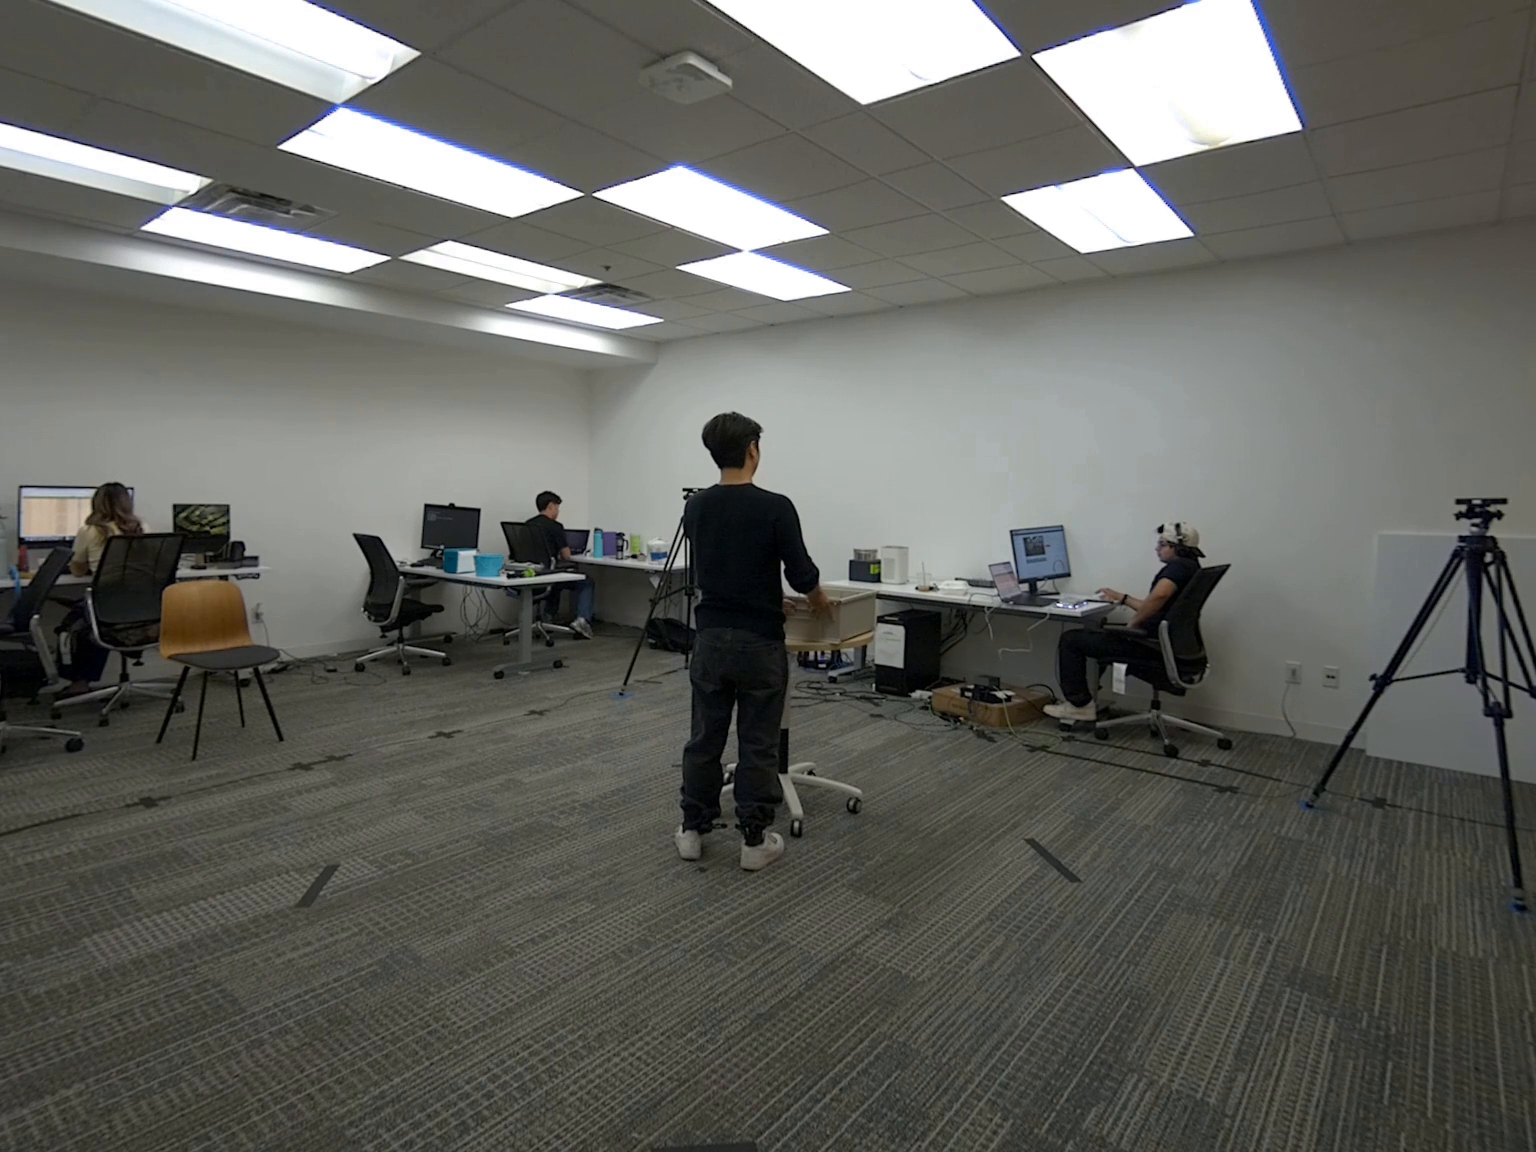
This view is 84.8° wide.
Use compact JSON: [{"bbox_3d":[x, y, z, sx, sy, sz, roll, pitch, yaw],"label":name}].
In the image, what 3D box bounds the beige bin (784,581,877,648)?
[{"bbox_3d":[0.218,0.152,3.642,0.389,0.188,0.411,5,7,30],"label":"beige bin"}]
